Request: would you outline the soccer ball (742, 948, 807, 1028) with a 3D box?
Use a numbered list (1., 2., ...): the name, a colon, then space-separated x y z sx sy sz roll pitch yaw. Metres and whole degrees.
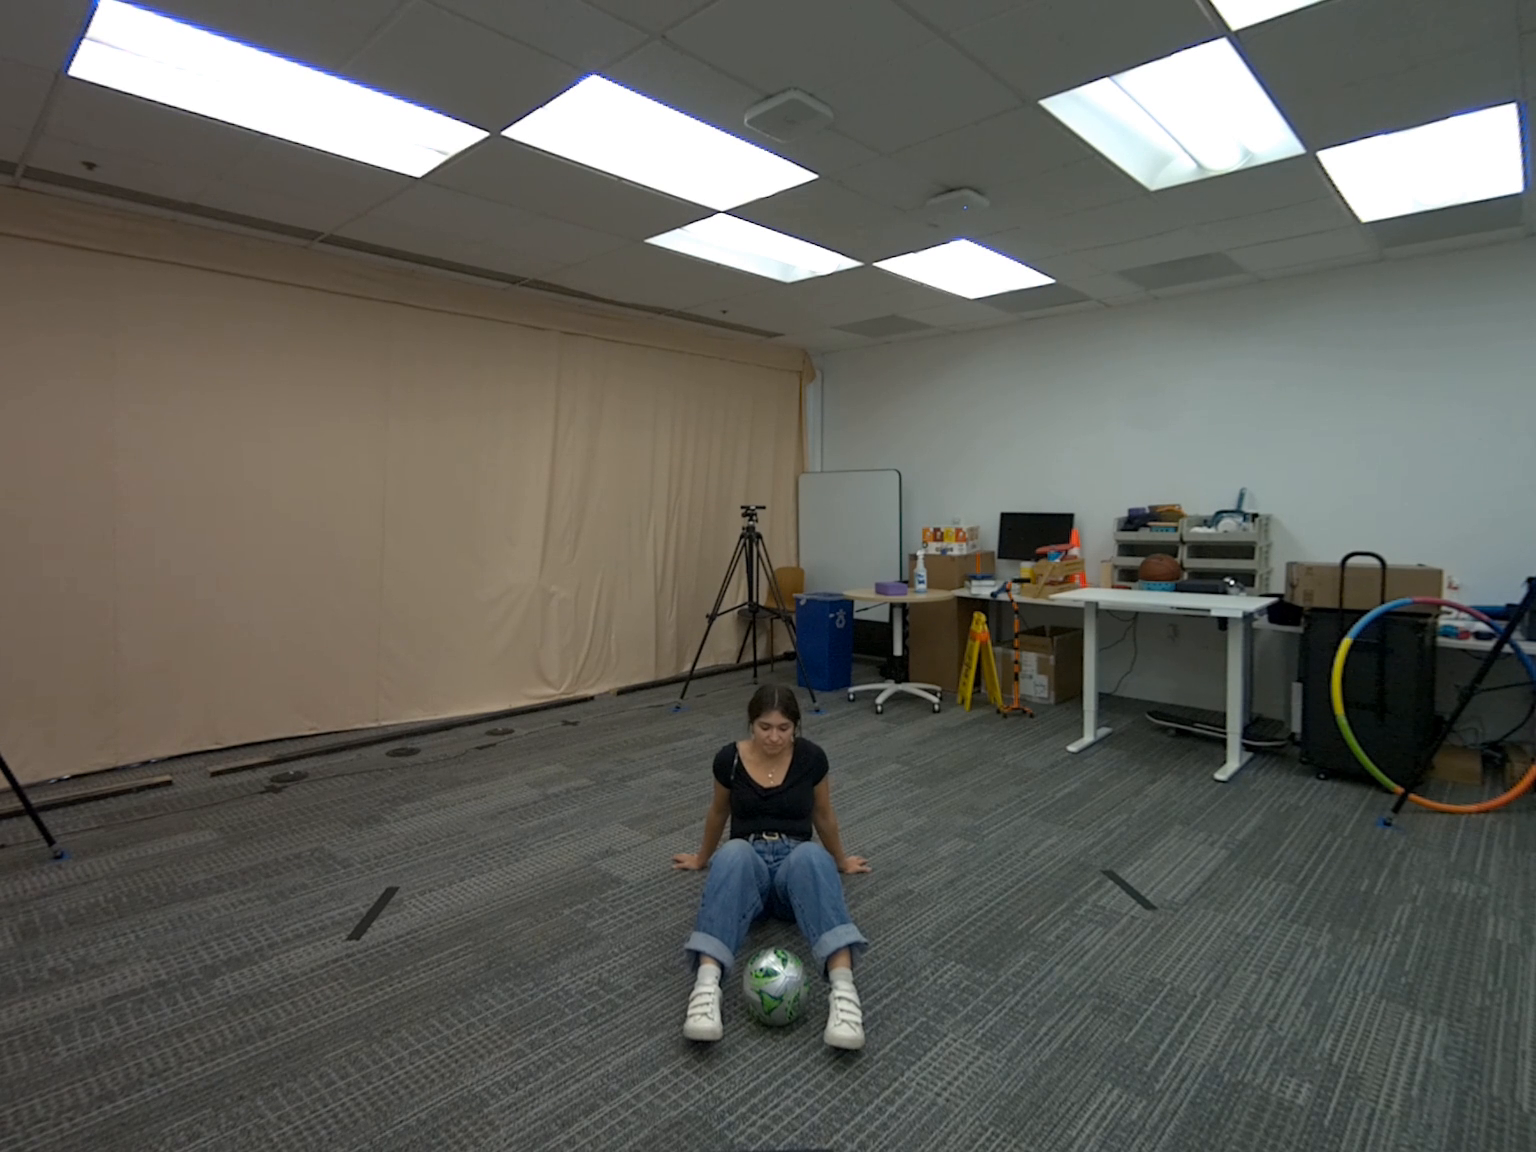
1. soccer ball: 0.029 1.106 2.278 0.187 0.187 0.188 3 4 -2
